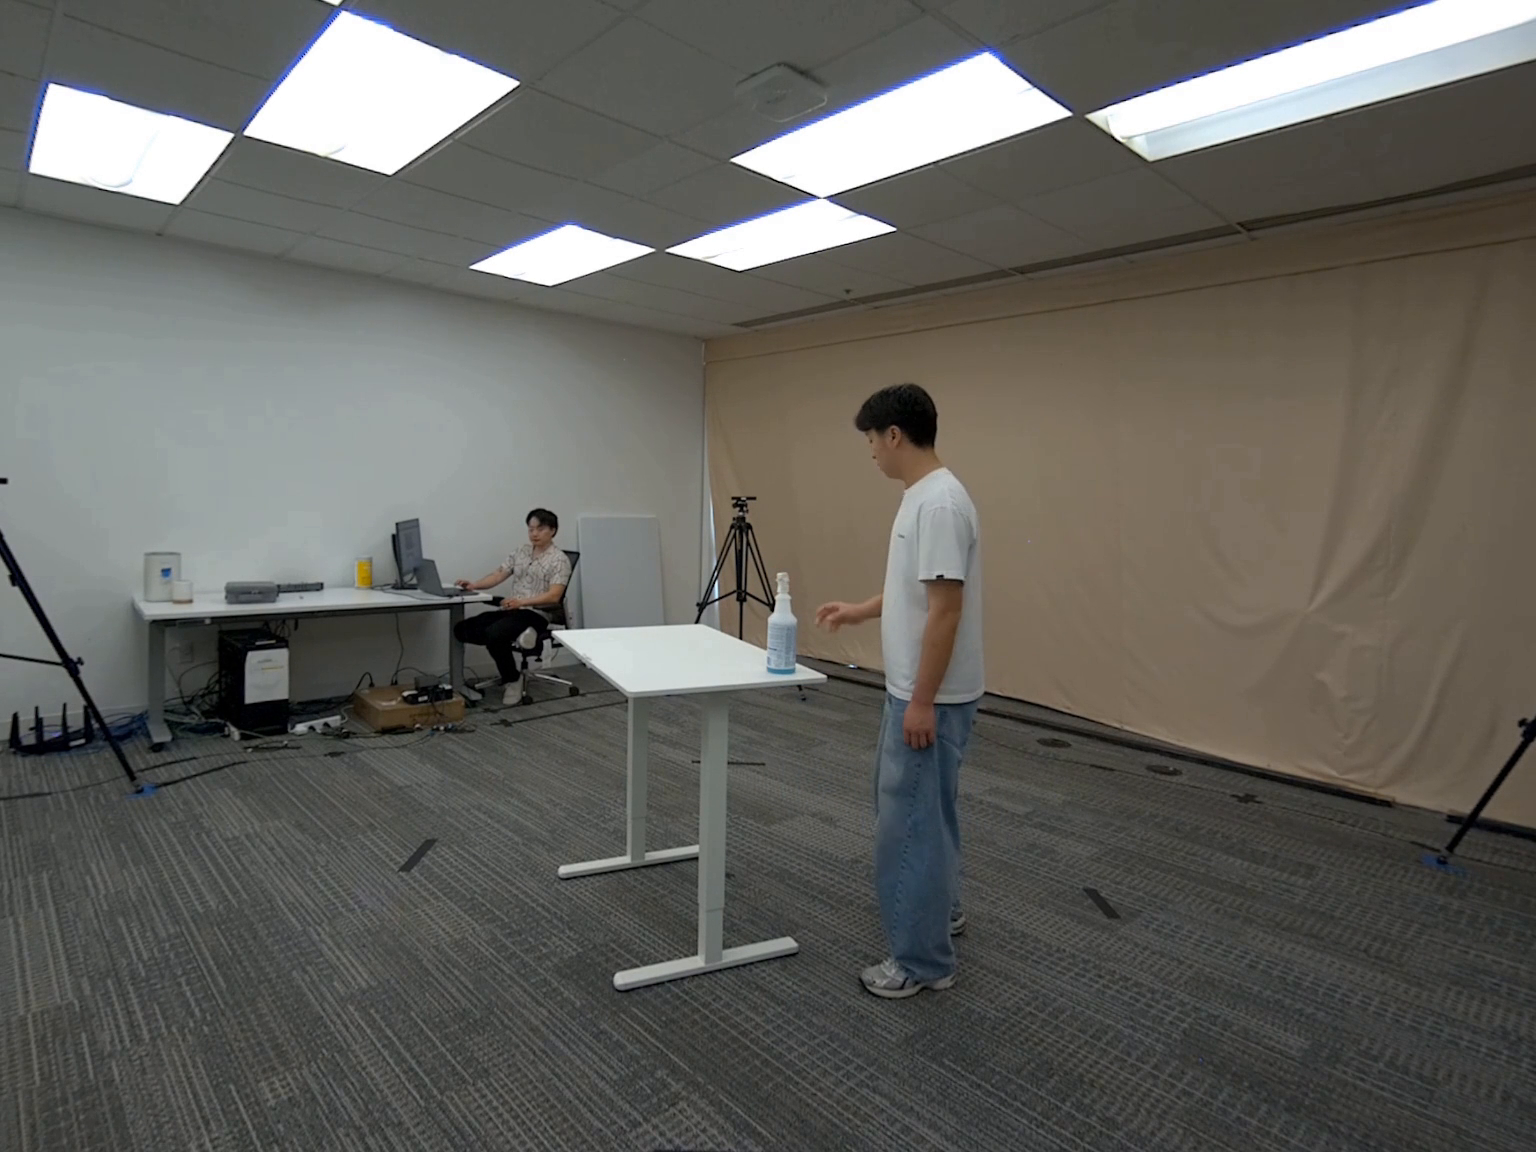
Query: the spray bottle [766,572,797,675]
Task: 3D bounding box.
[{"bbox_3d":[0.043,0.141,2.486,0.089,0.296,0.088,5,7,43],"label":"spray bottle"}]
